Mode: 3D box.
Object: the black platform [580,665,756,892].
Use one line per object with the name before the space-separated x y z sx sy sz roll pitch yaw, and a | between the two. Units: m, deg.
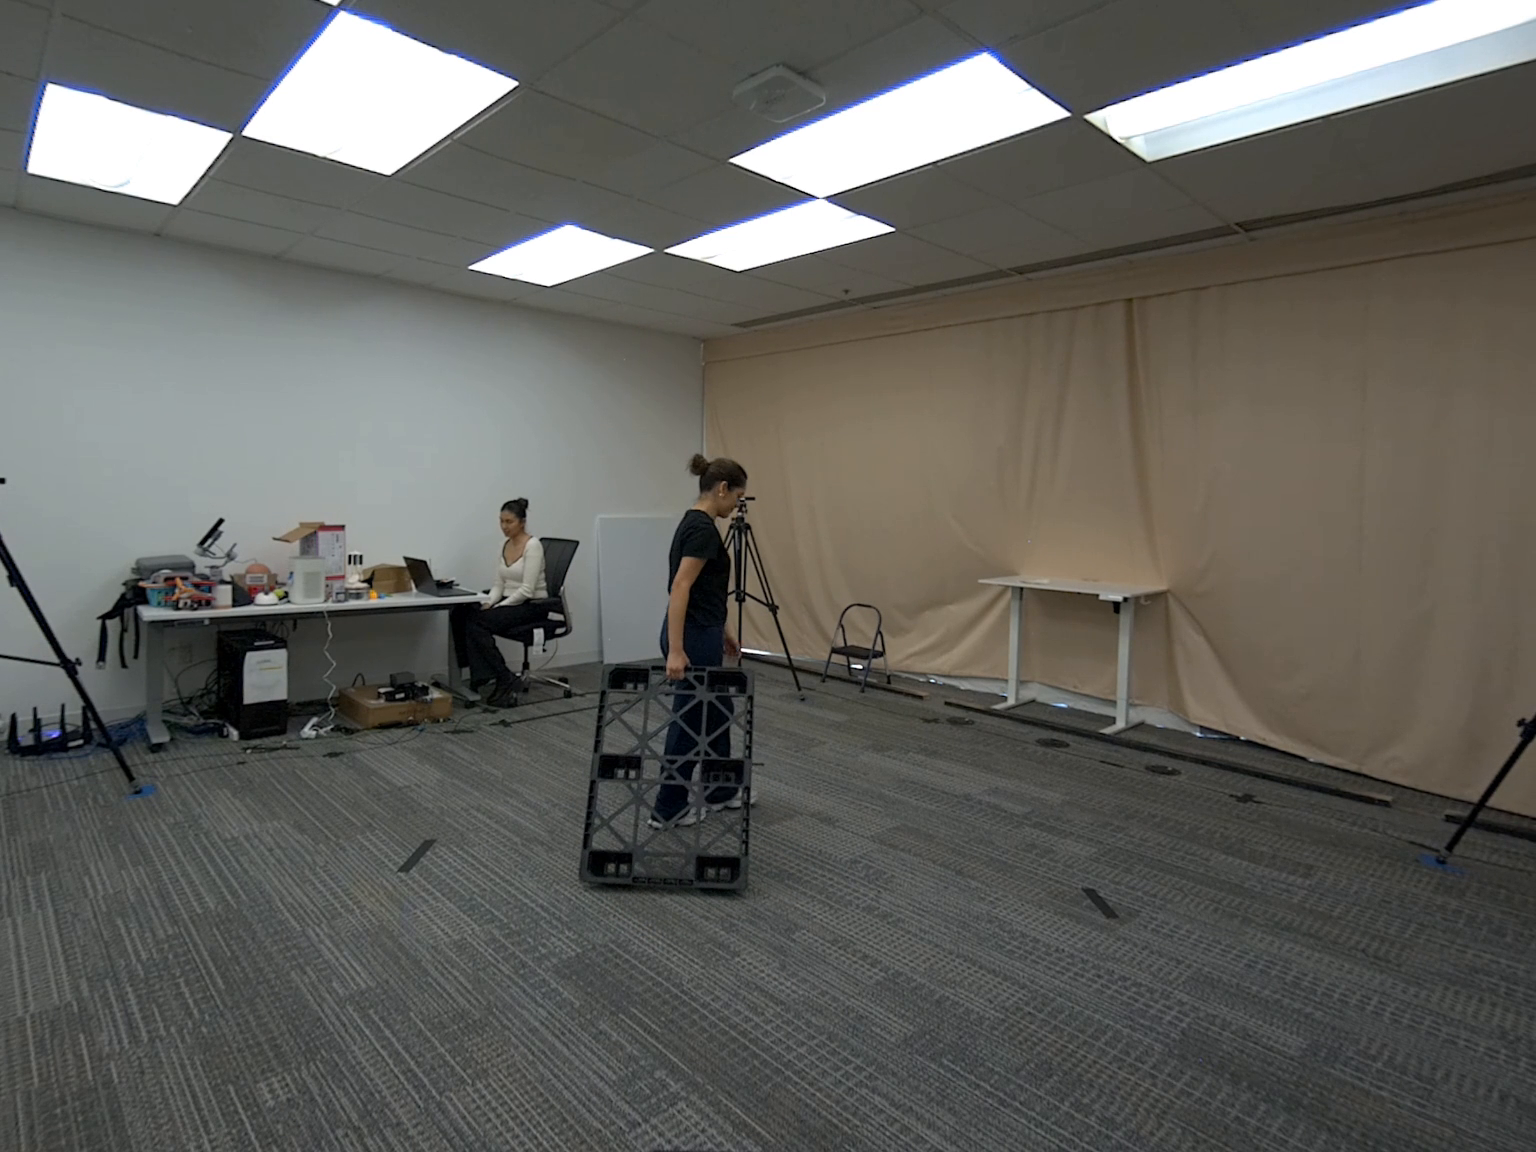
black platform | -0.356 0.740 3.158 0.606 0.818 0.141 1 -25 2
